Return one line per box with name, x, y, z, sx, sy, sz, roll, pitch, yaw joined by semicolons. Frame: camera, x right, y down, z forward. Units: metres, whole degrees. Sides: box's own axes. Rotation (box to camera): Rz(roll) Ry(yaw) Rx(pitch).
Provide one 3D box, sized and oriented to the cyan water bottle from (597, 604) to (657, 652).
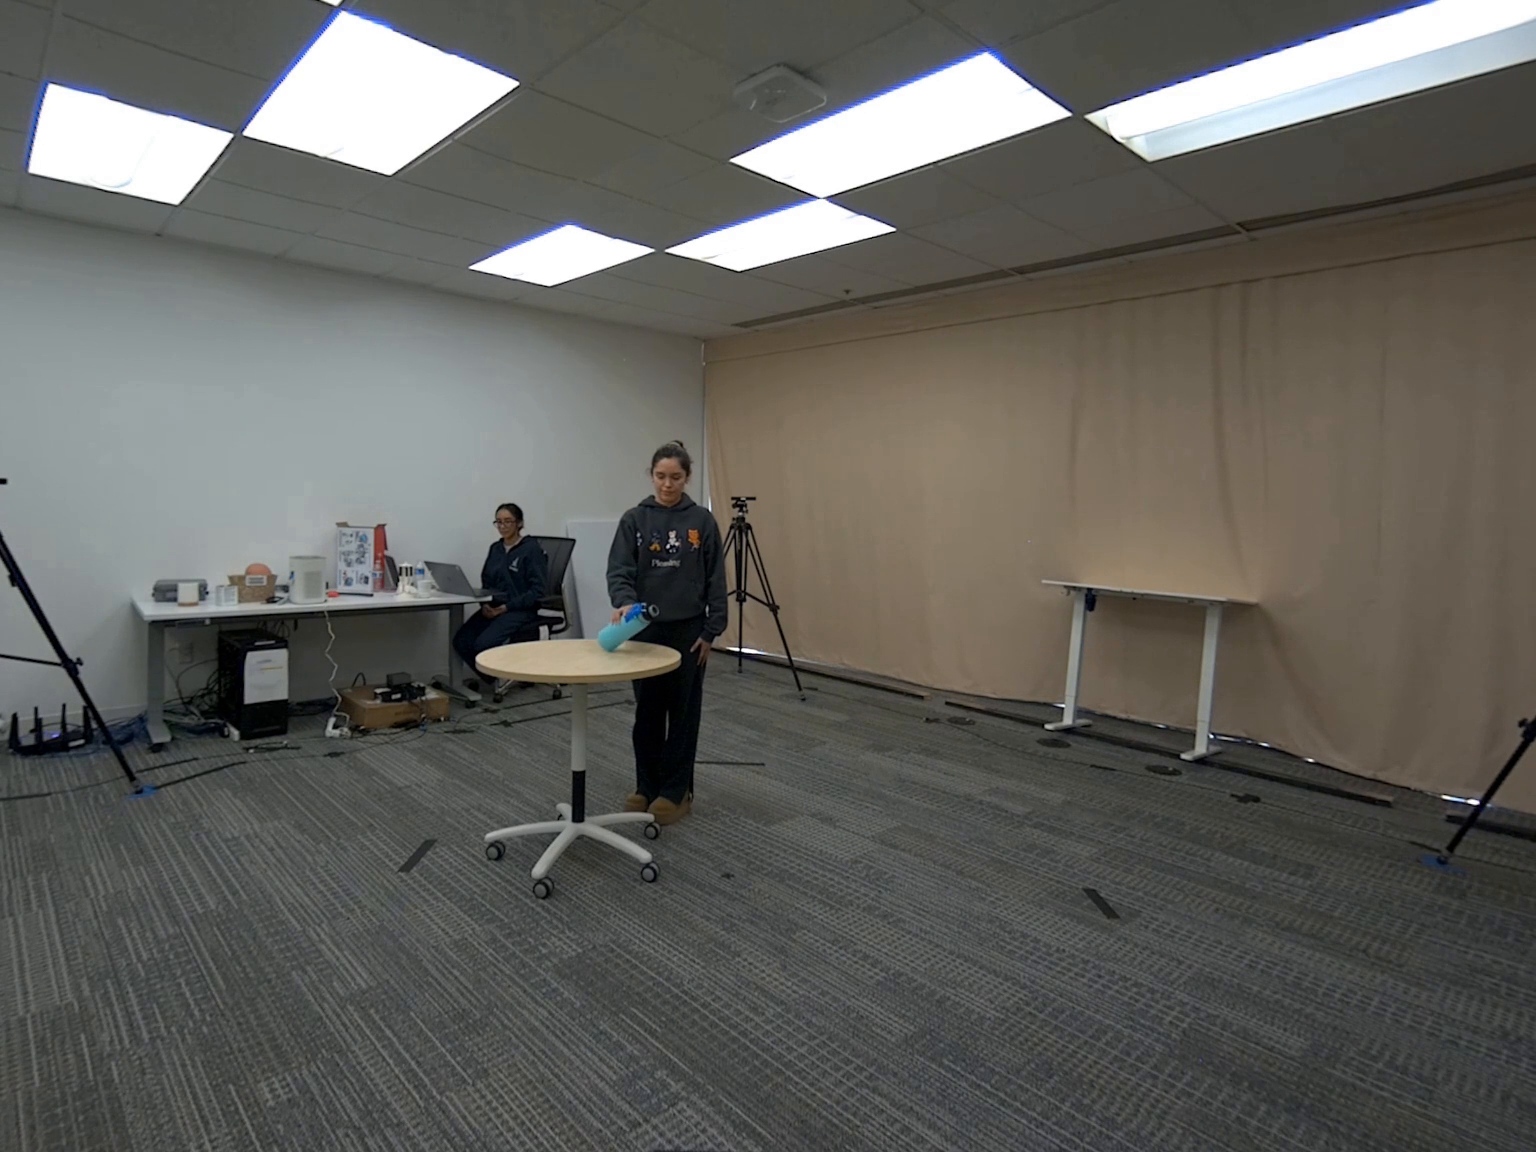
cyan water bottle;-0.561;0.193;3.248;0.285;0.094;0.090;-34;-17;33
